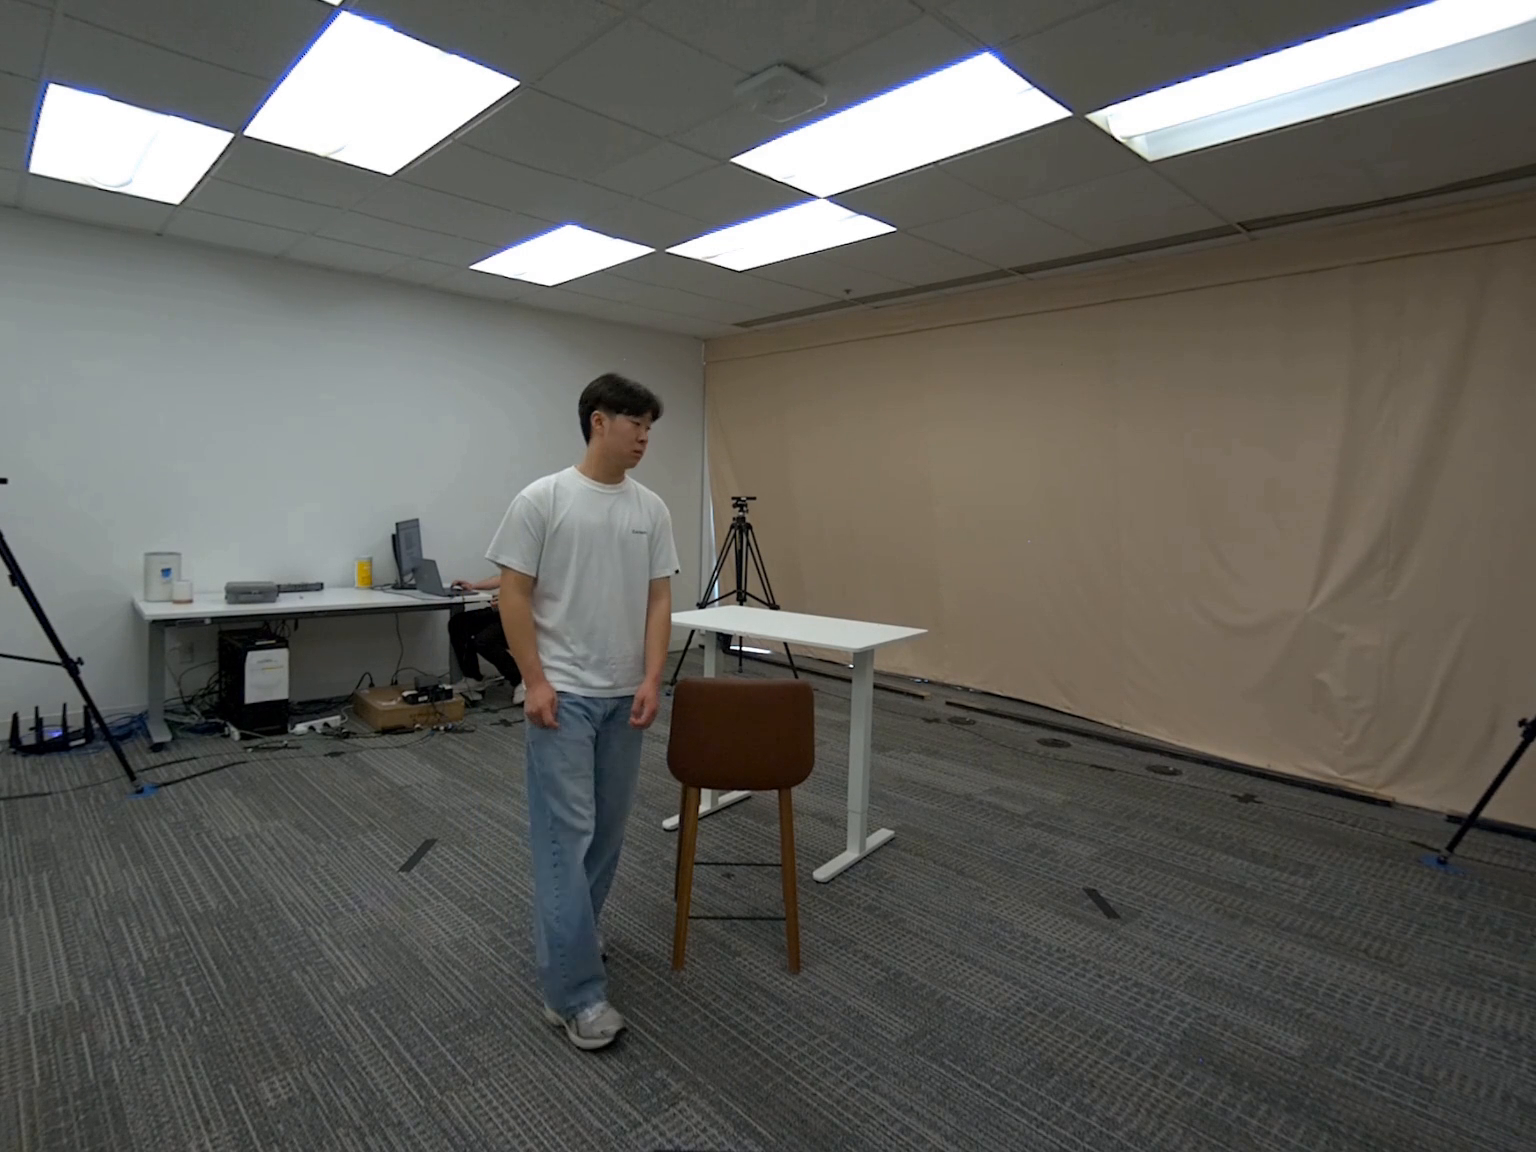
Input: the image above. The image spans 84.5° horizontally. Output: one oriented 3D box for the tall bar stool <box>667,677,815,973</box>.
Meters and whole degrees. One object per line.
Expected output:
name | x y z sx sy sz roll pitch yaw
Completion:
tall bar stool | -0.107 0.714 2.669 0.456 0.886 0.470 1 5 -3
